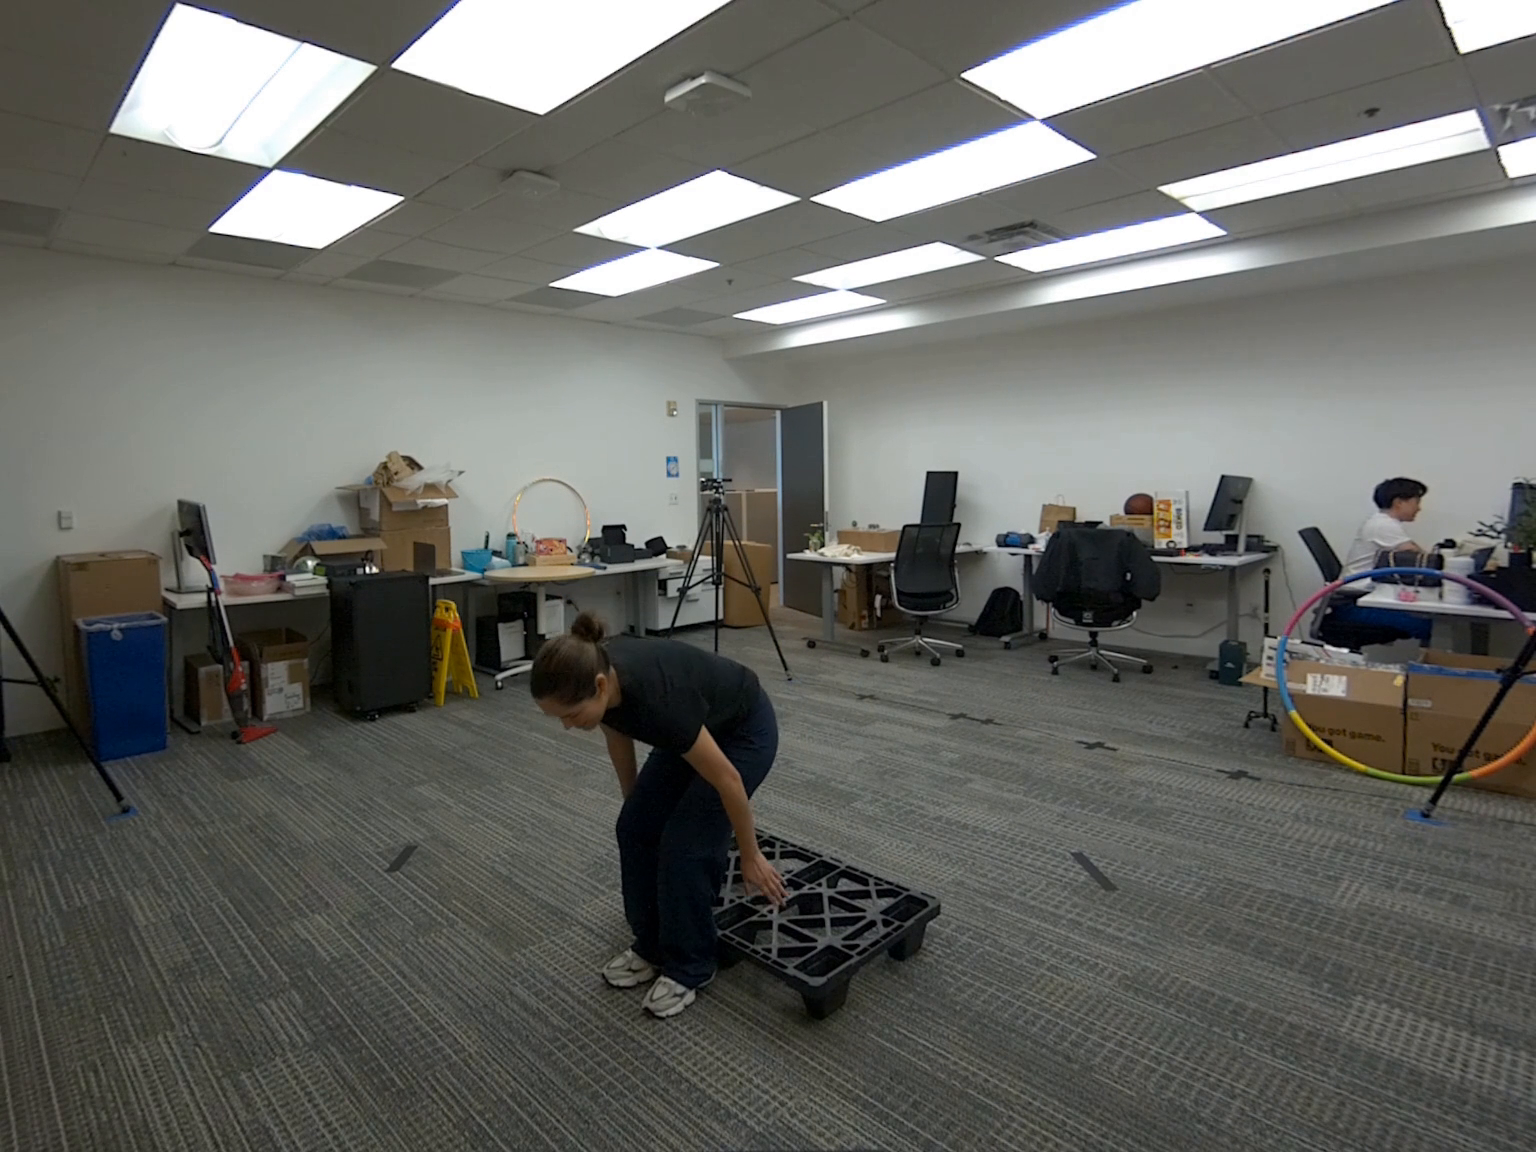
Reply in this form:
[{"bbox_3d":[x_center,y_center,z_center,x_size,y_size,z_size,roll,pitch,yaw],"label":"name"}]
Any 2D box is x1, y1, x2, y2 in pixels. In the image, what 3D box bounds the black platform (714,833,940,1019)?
[{"bbox_3d":[0.031,1.032,2.644,0.831,0.142,0.589,6,9,43],"label":"black platform"}]
